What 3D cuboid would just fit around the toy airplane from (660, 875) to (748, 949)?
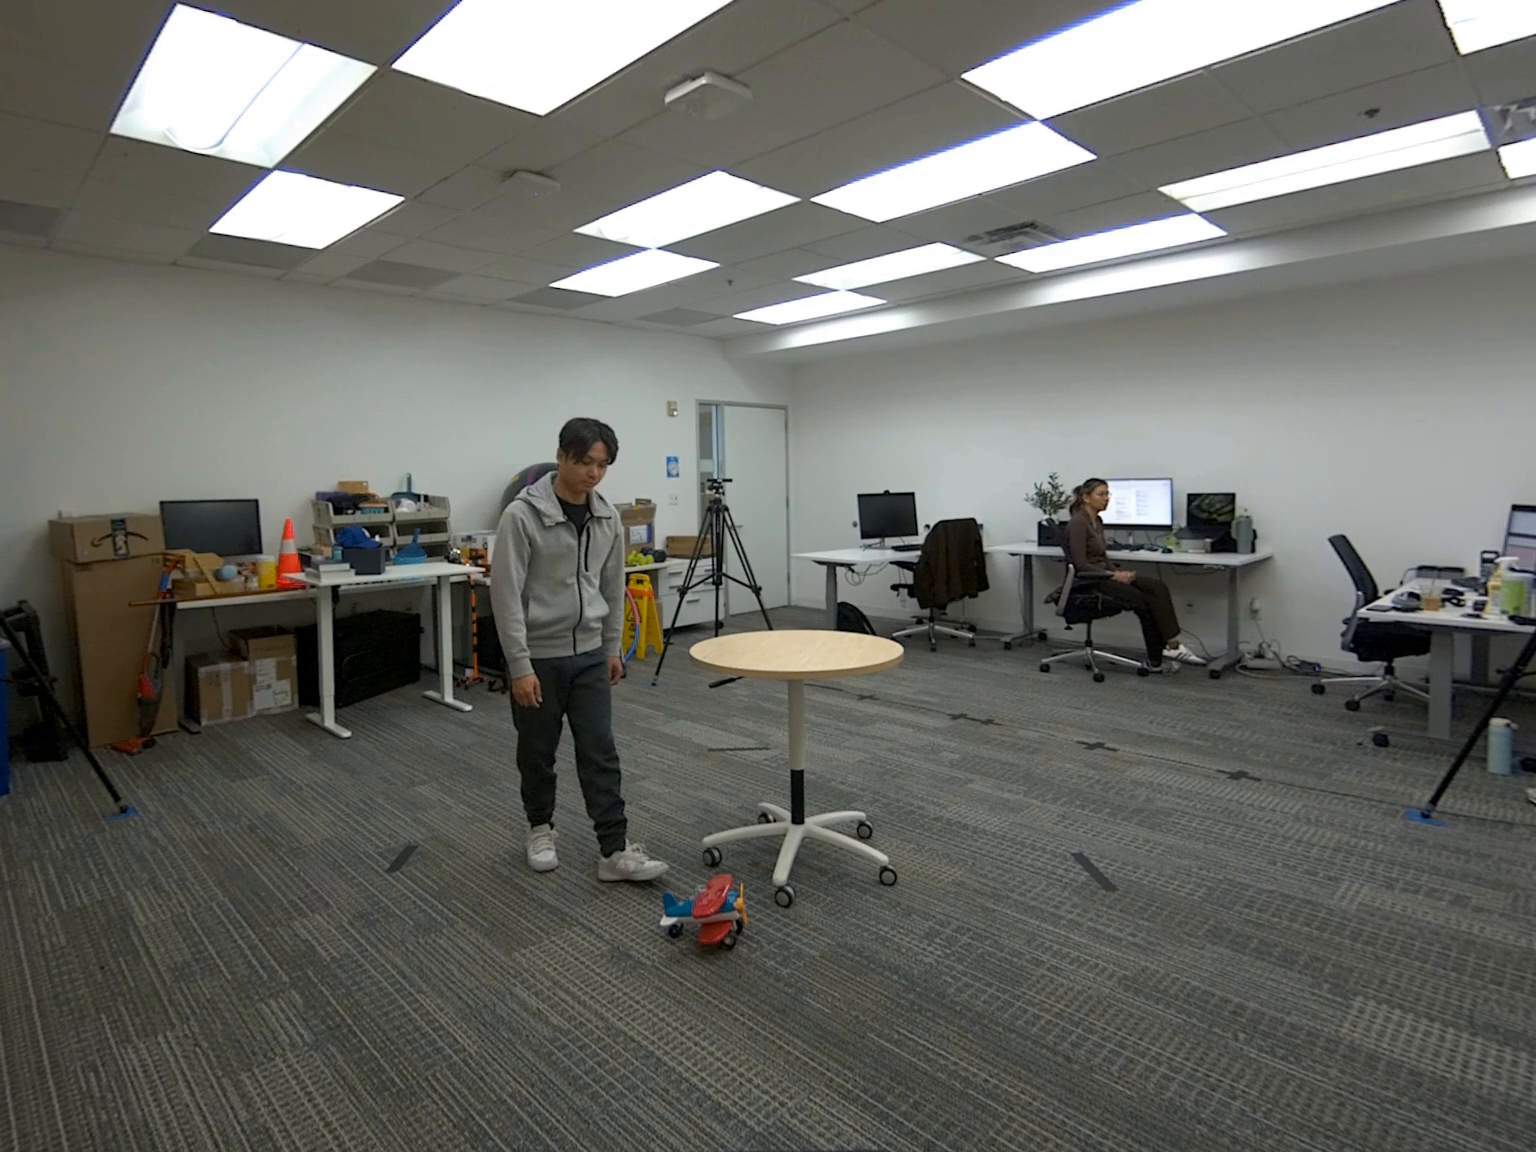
[{"bbox_3d":[-0.192,1.034,2.593,0.256,0.156,0.256,-2,6,-15],"label":"toy airplane"}]
